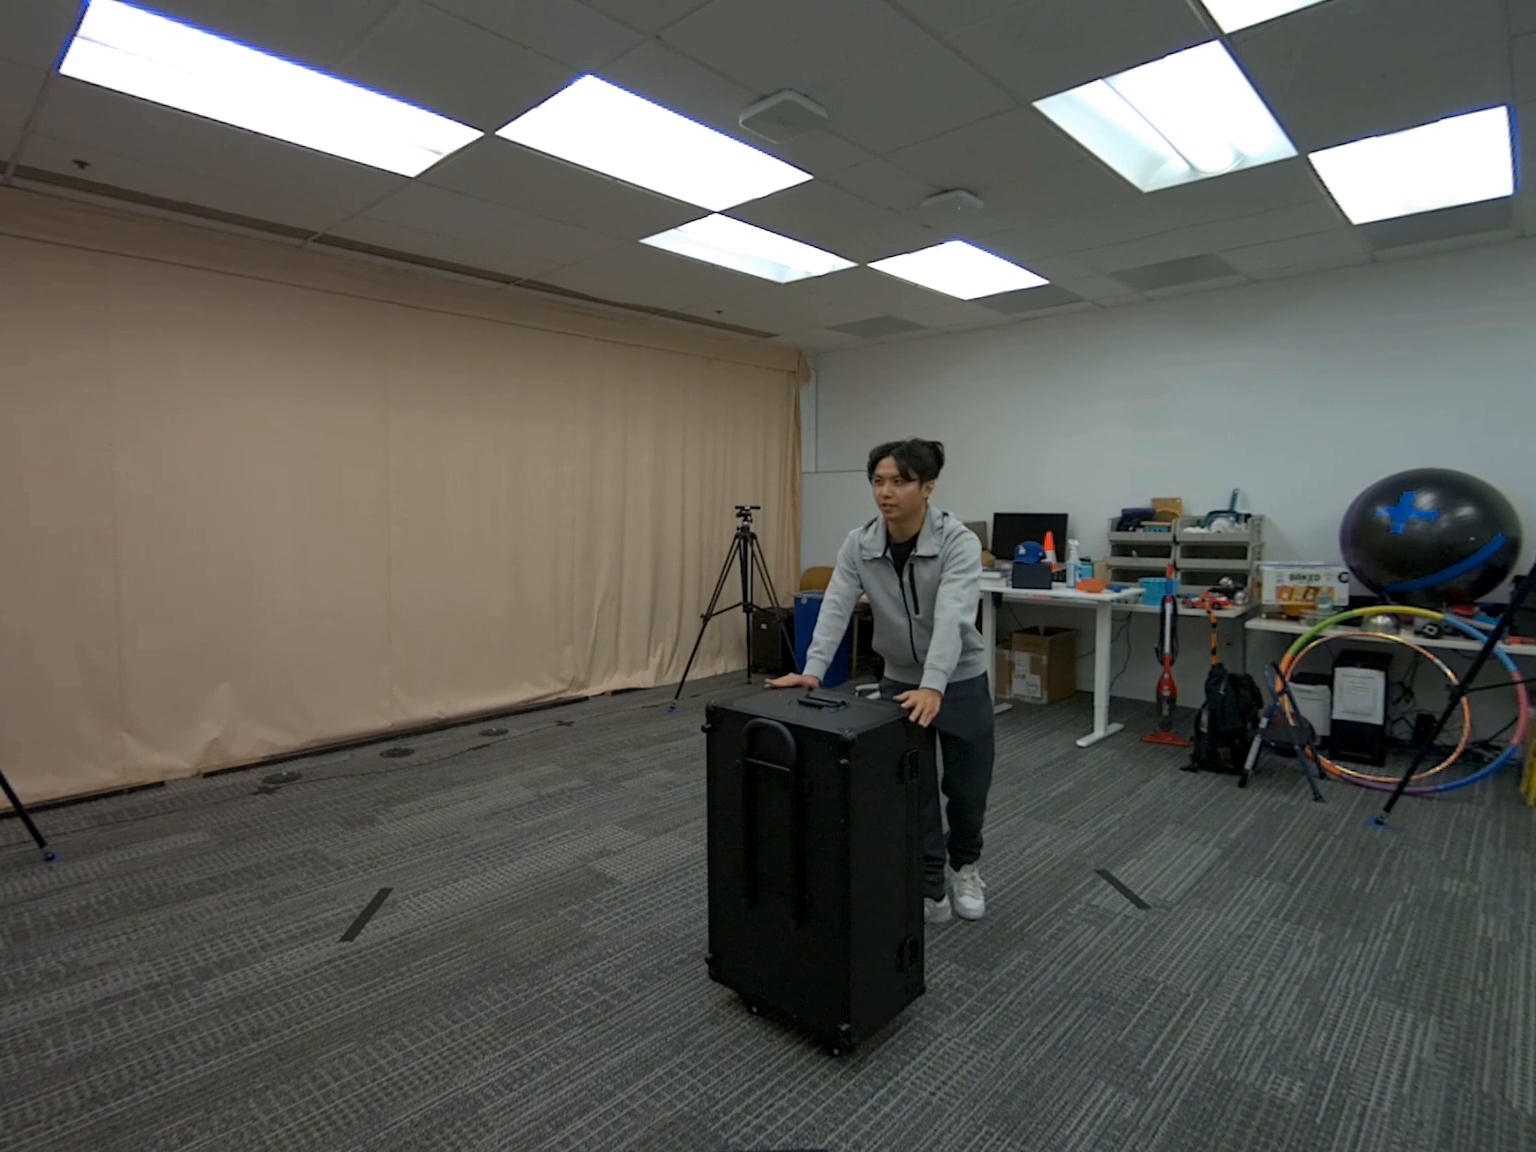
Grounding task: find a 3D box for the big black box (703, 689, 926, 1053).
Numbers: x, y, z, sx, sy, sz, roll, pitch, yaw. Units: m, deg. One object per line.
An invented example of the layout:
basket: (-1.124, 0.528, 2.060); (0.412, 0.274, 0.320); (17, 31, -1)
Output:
big black box: (0.131, 0.779, 2.288); (0.539, 0.859, 0.384); (3, 6, 42)
